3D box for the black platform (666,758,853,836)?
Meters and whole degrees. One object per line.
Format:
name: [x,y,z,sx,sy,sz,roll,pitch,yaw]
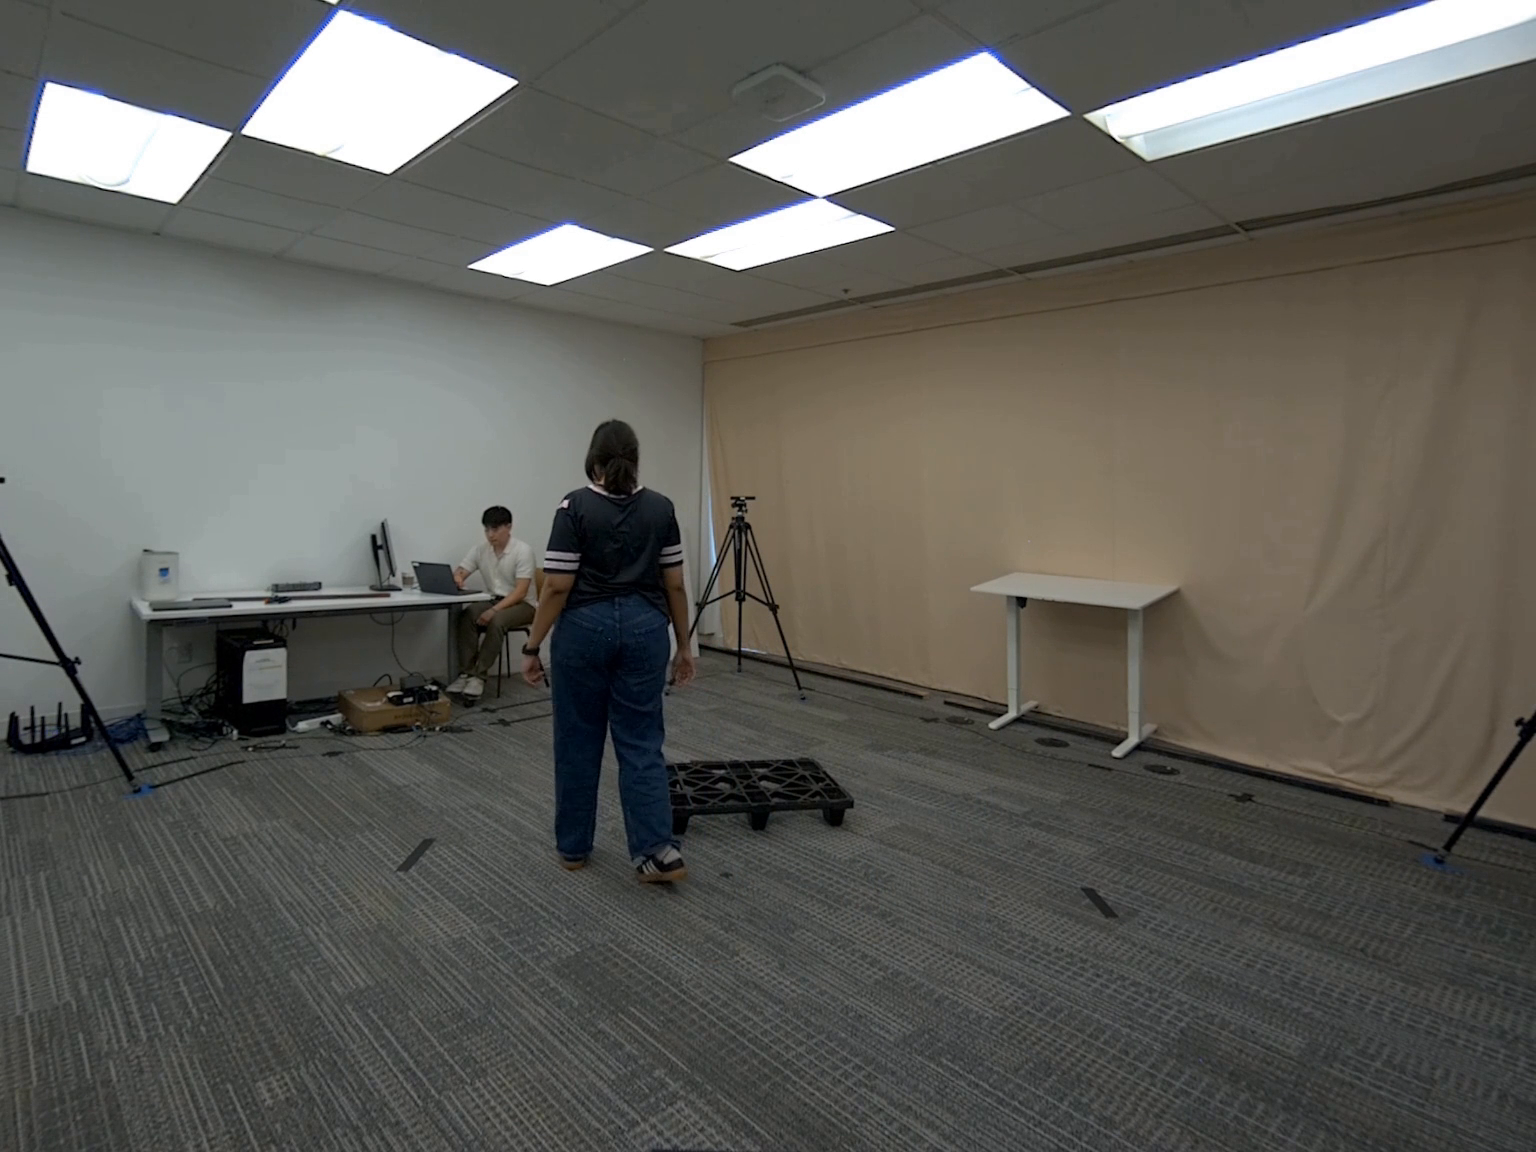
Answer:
black platform: [-0.096,0.982,3.763,0.798,0.143,0.613,0,6,-12]
